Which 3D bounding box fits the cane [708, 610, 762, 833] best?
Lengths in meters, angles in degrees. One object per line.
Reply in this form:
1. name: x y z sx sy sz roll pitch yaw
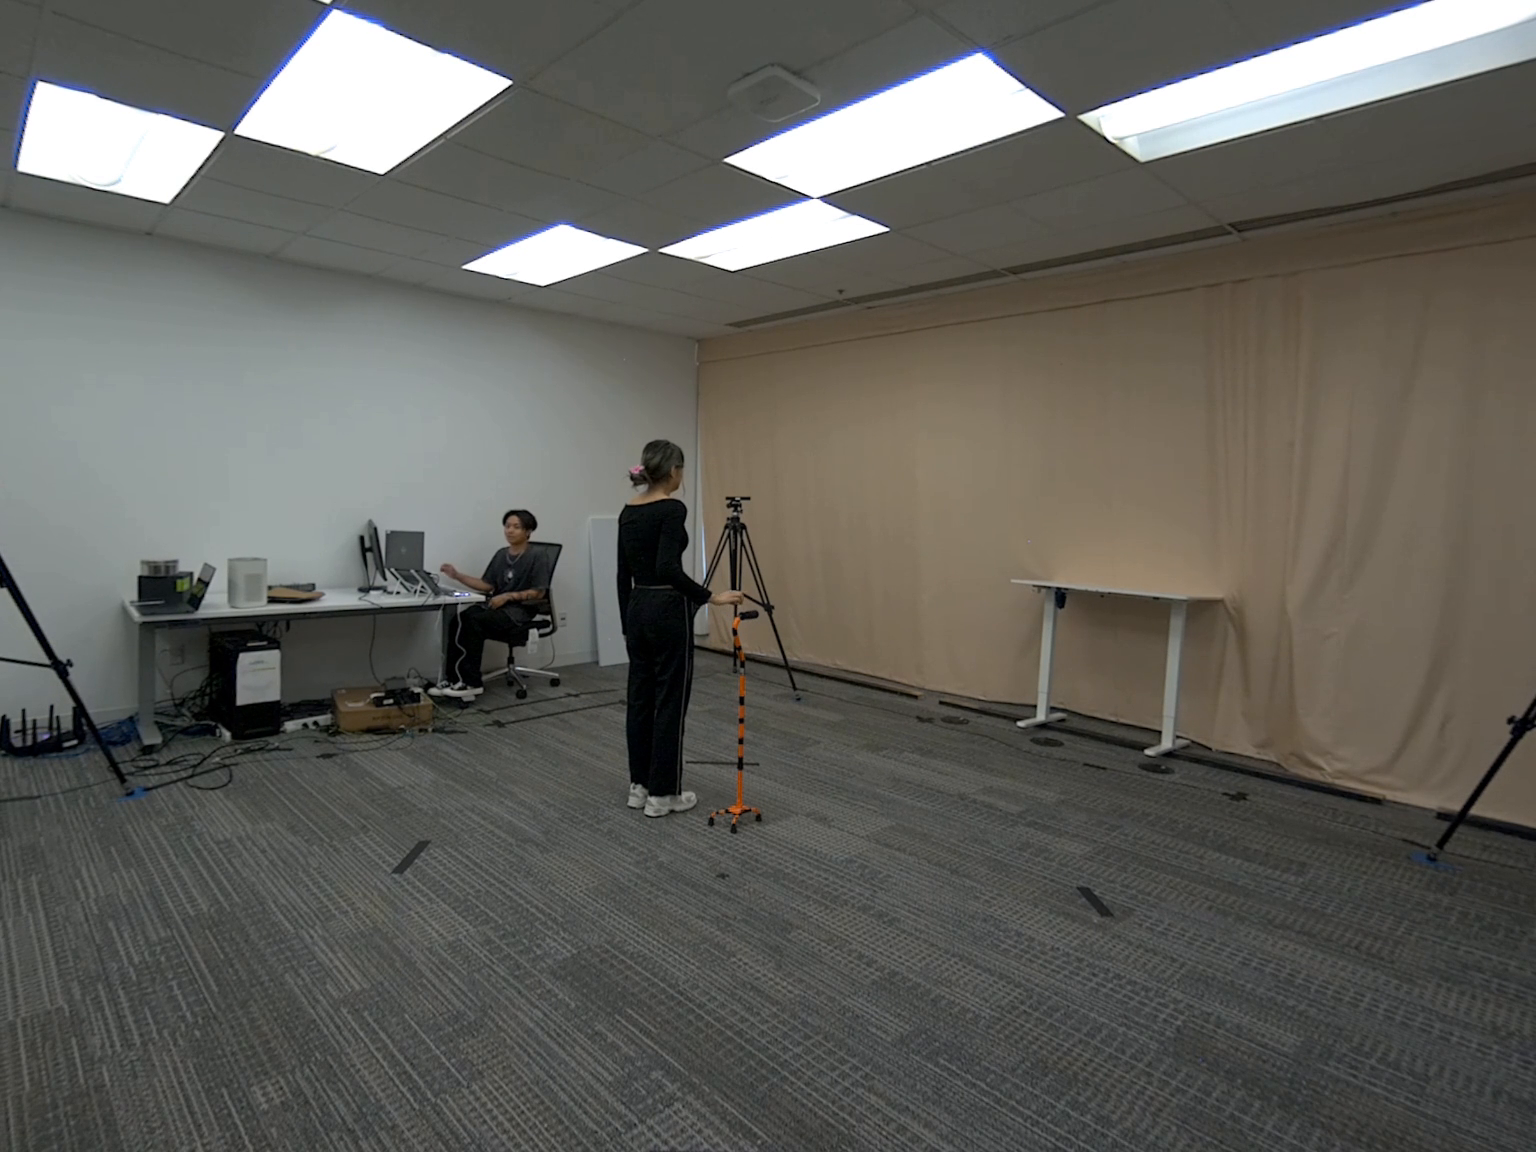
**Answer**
1. cane: -0.138 0.607 3.601 0.155 0.906 0.202 4 4 36
